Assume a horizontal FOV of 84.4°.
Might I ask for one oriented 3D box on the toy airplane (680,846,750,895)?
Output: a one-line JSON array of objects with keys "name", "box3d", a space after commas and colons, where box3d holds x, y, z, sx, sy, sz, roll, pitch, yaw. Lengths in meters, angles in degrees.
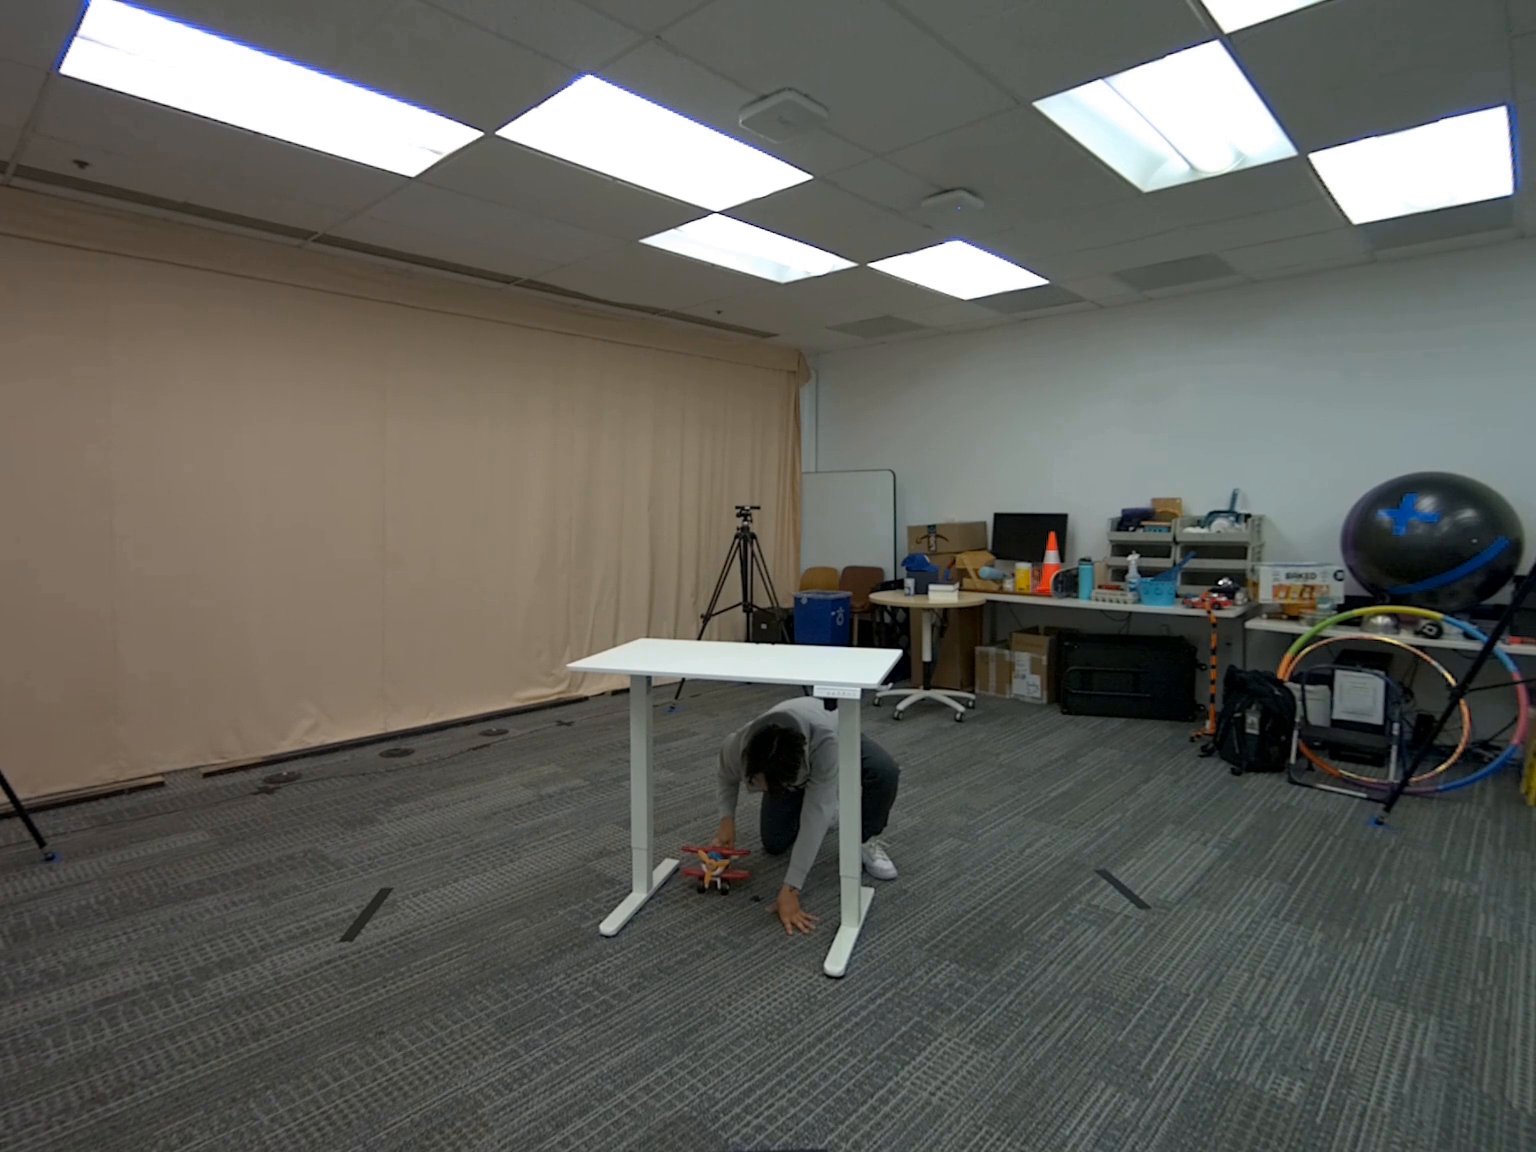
[{"name": "toy airplane", "box3d": [-0.208, 1.062, 3.108, 0.246, 0.156, 0.265, -1, 5, -21]}]
